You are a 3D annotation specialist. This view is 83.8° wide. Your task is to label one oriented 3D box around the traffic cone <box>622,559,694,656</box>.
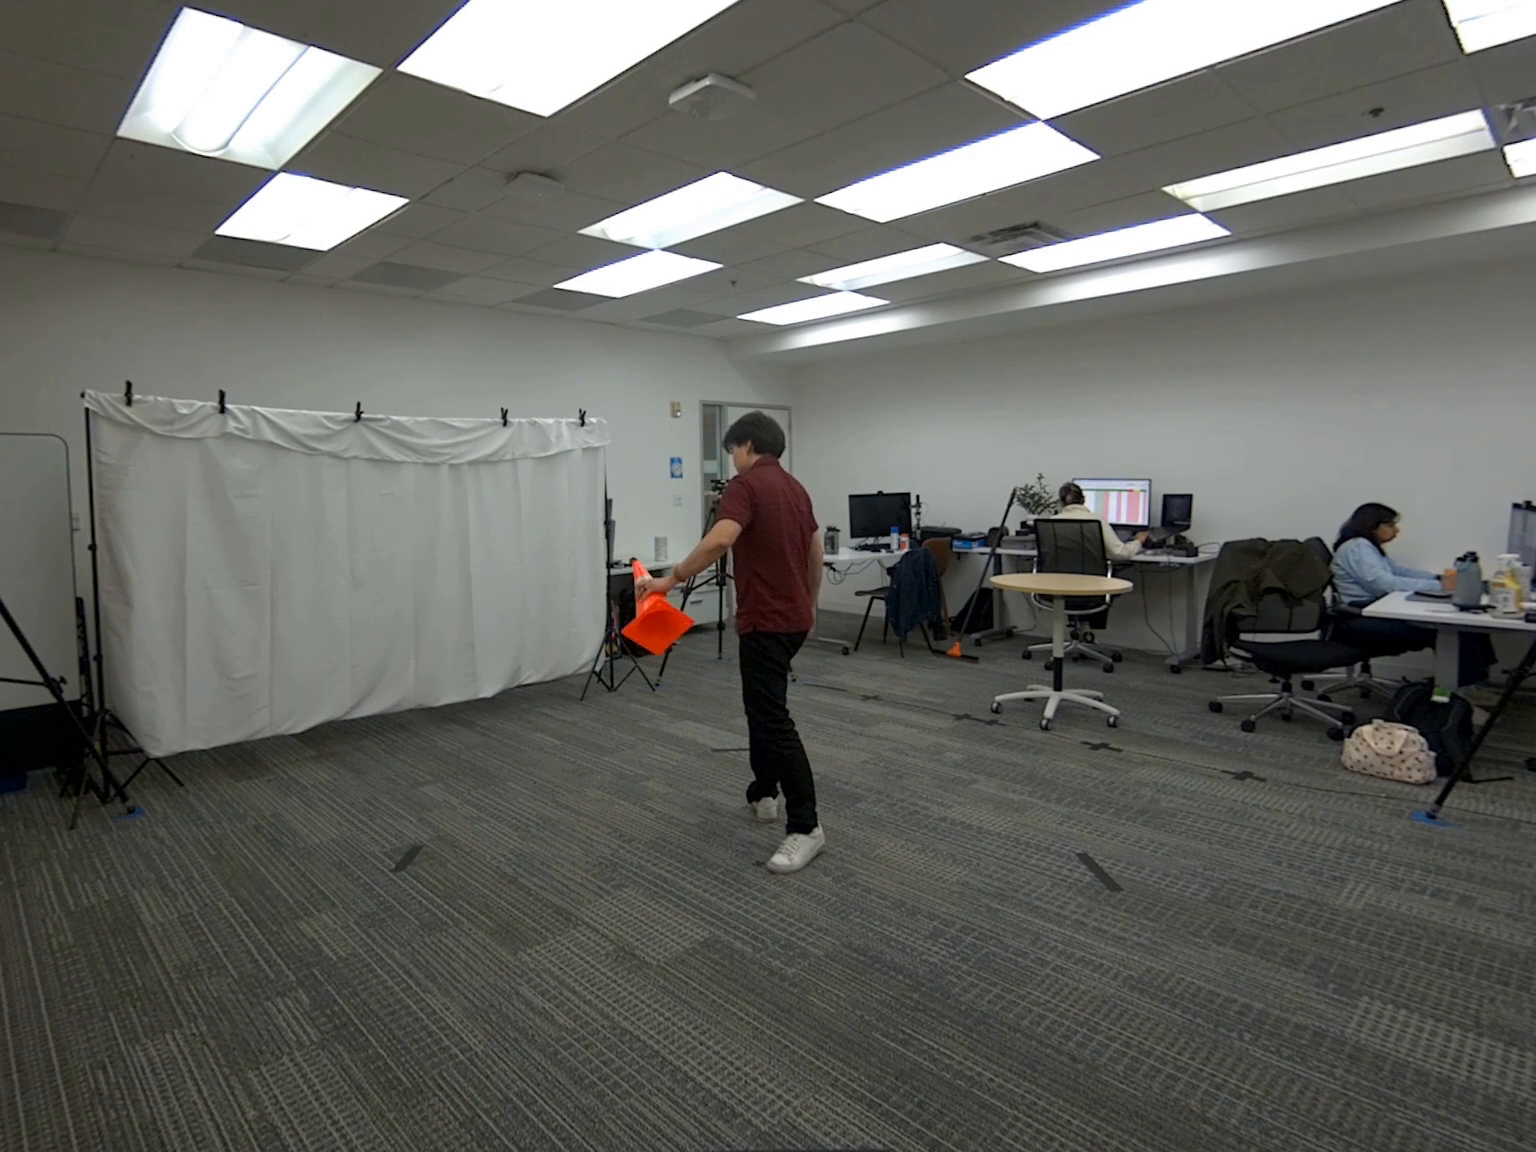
[{"bbox_3d":[-0.443,0.066,3.221,0.198,0.203,0.398,30,22,-35],"label":"traffic cone"}]
